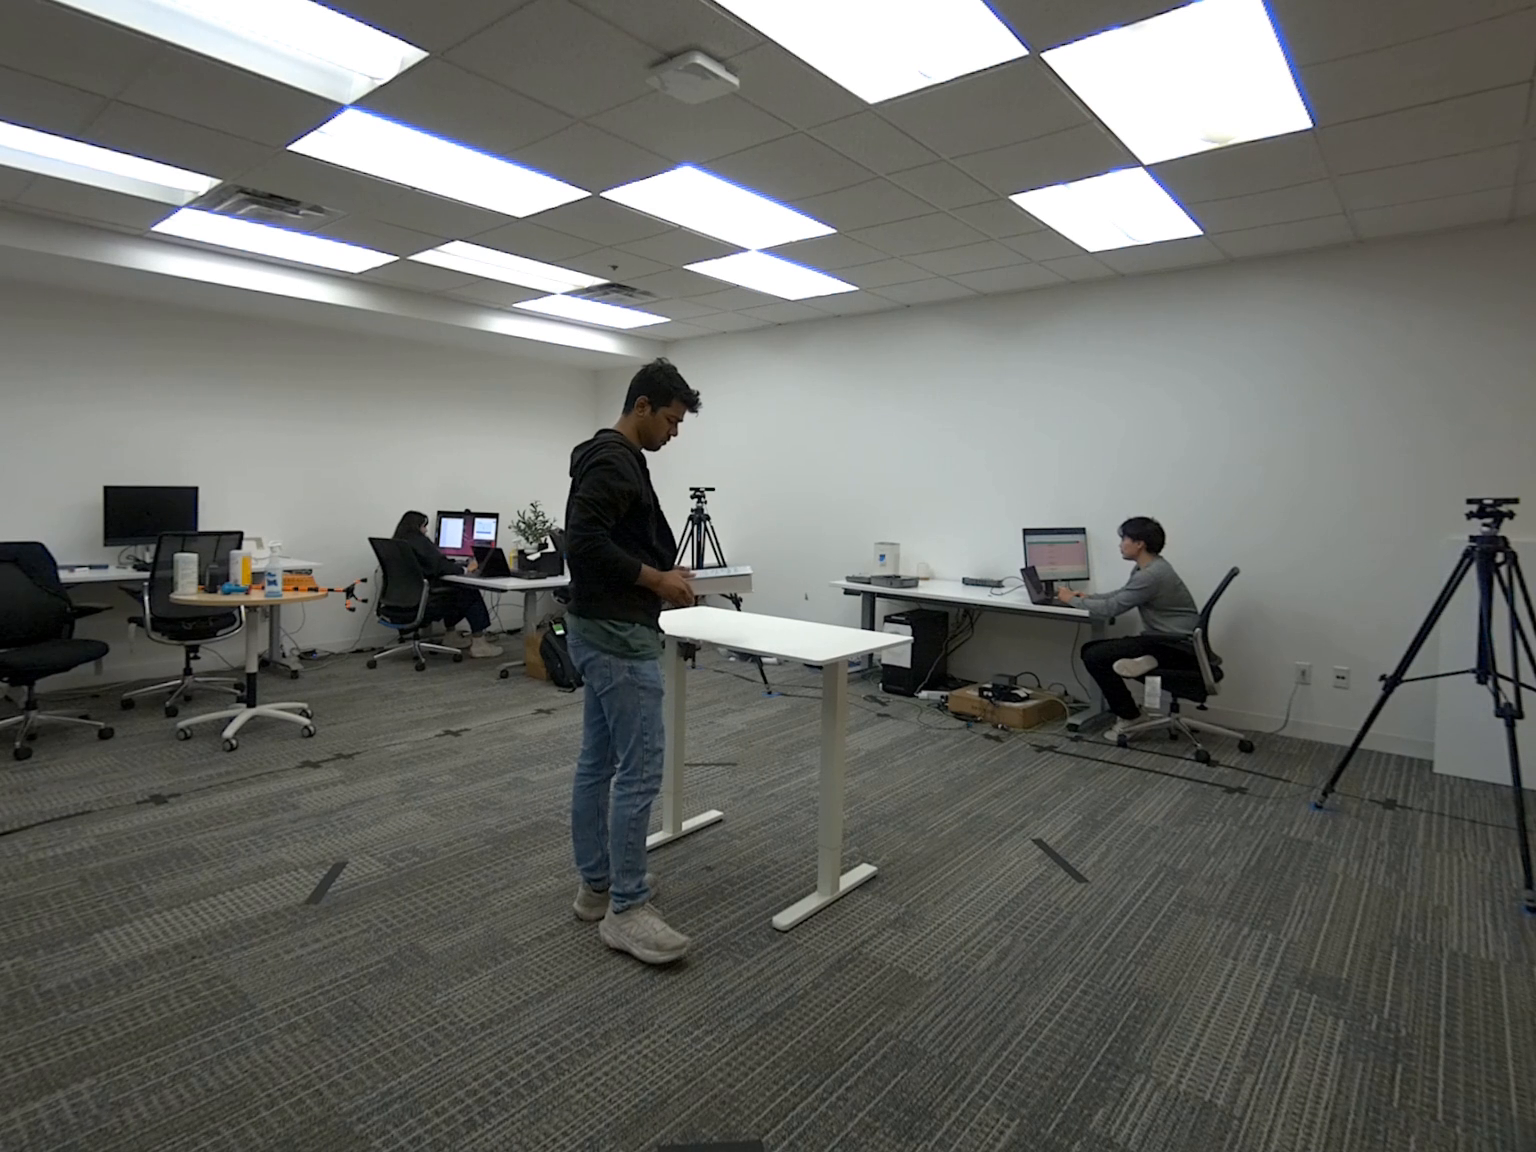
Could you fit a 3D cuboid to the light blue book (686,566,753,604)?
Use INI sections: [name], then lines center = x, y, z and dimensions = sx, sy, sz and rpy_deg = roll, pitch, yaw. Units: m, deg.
[light blue book]
center = -0.201, 0.022, 2.732
dimensions = 0.260, 0.058, 0.193
rpy_deg = -4, 9, -4
